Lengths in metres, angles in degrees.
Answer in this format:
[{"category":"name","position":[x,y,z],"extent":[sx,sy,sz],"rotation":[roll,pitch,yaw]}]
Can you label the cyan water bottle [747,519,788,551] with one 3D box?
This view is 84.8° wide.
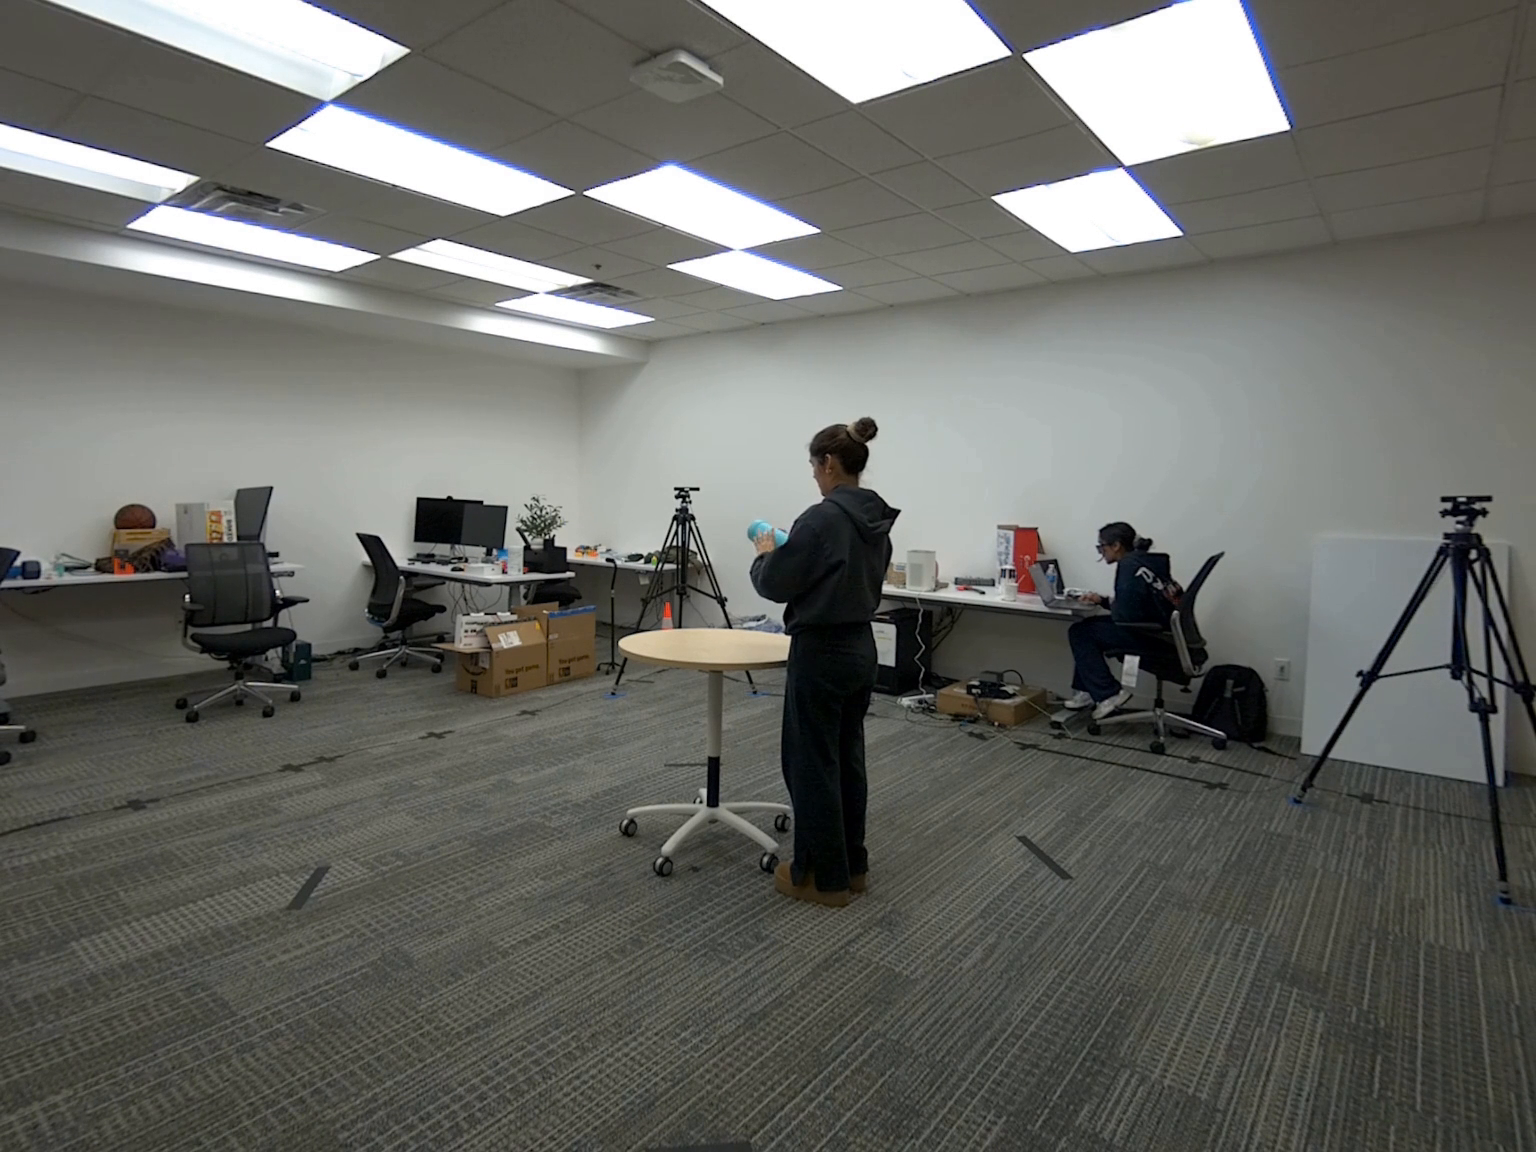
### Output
[{"category":"cyan water bottle","position":[0.045,-0.124,3.157],"extent":[0.089,0.091,0.295],"rotation":[-4,26,-46]}]
